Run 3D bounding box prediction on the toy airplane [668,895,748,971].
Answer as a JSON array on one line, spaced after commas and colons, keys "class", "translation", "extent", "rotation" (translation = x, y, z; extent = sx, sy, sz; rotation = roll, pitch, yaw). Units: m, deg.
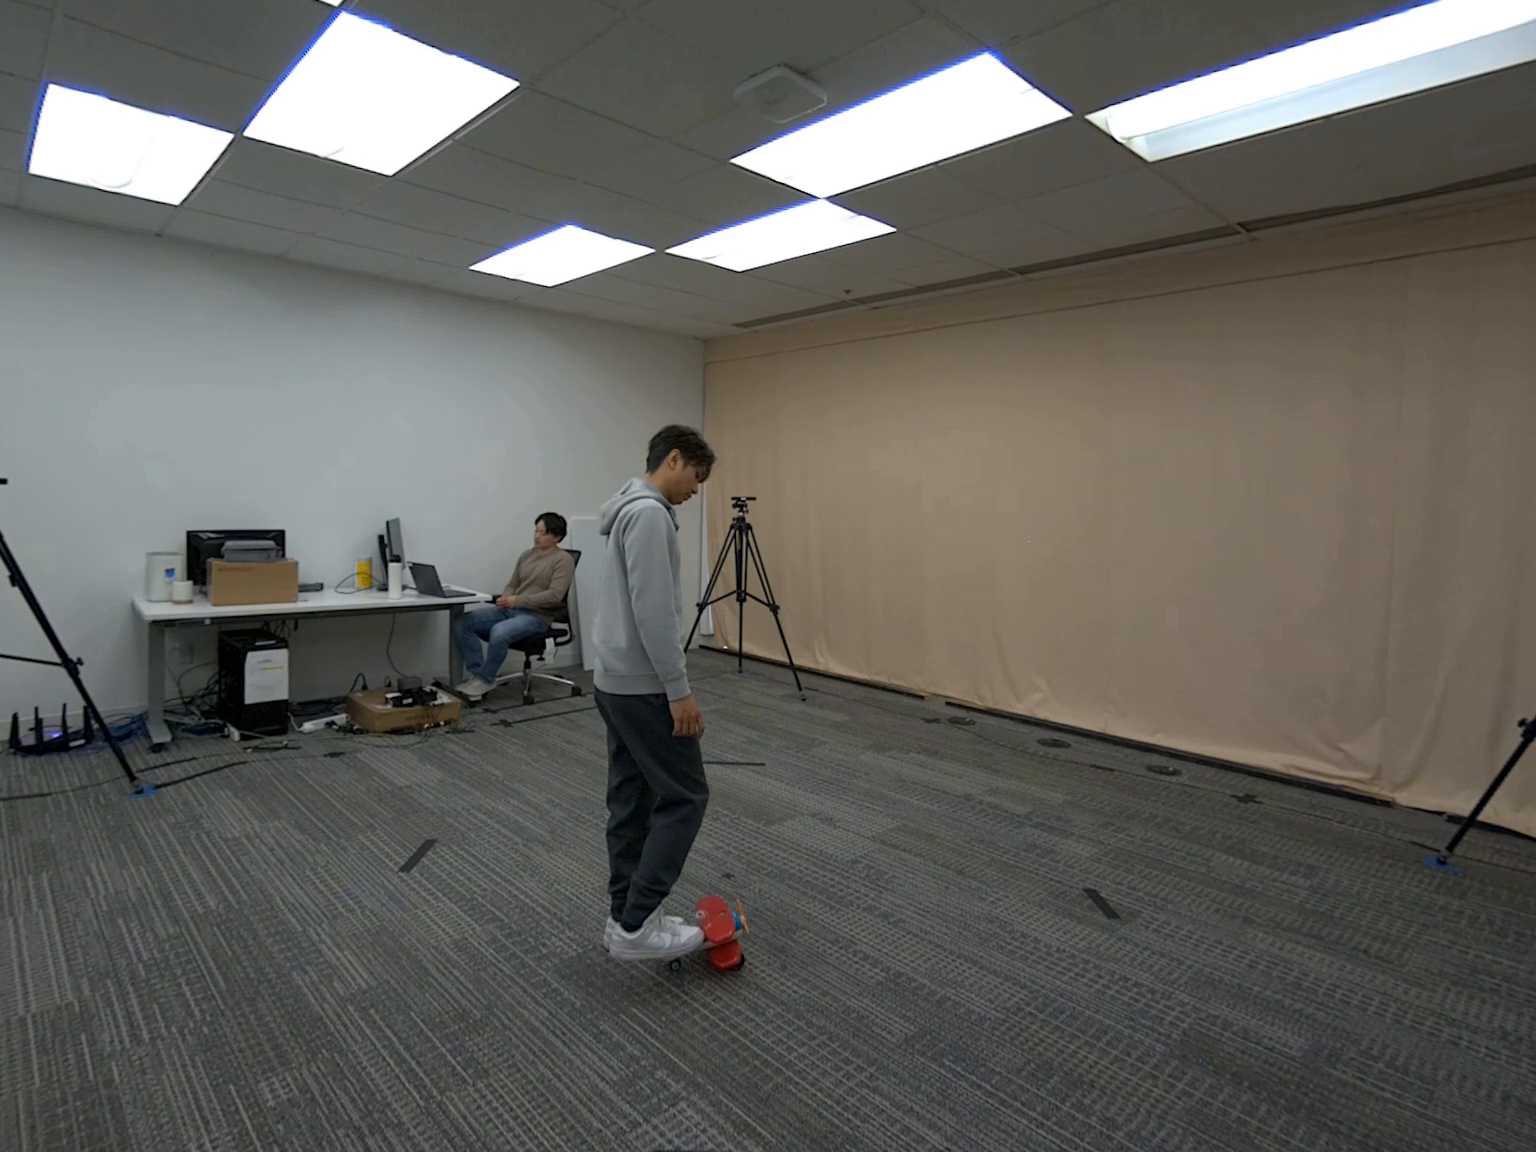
[{"class": "toy airplane", "translation": [-0.188, 1.087, 2.496], "extent": [0.253, 0.156, 0.258], "rotation": [-1, 6, -40]}]
